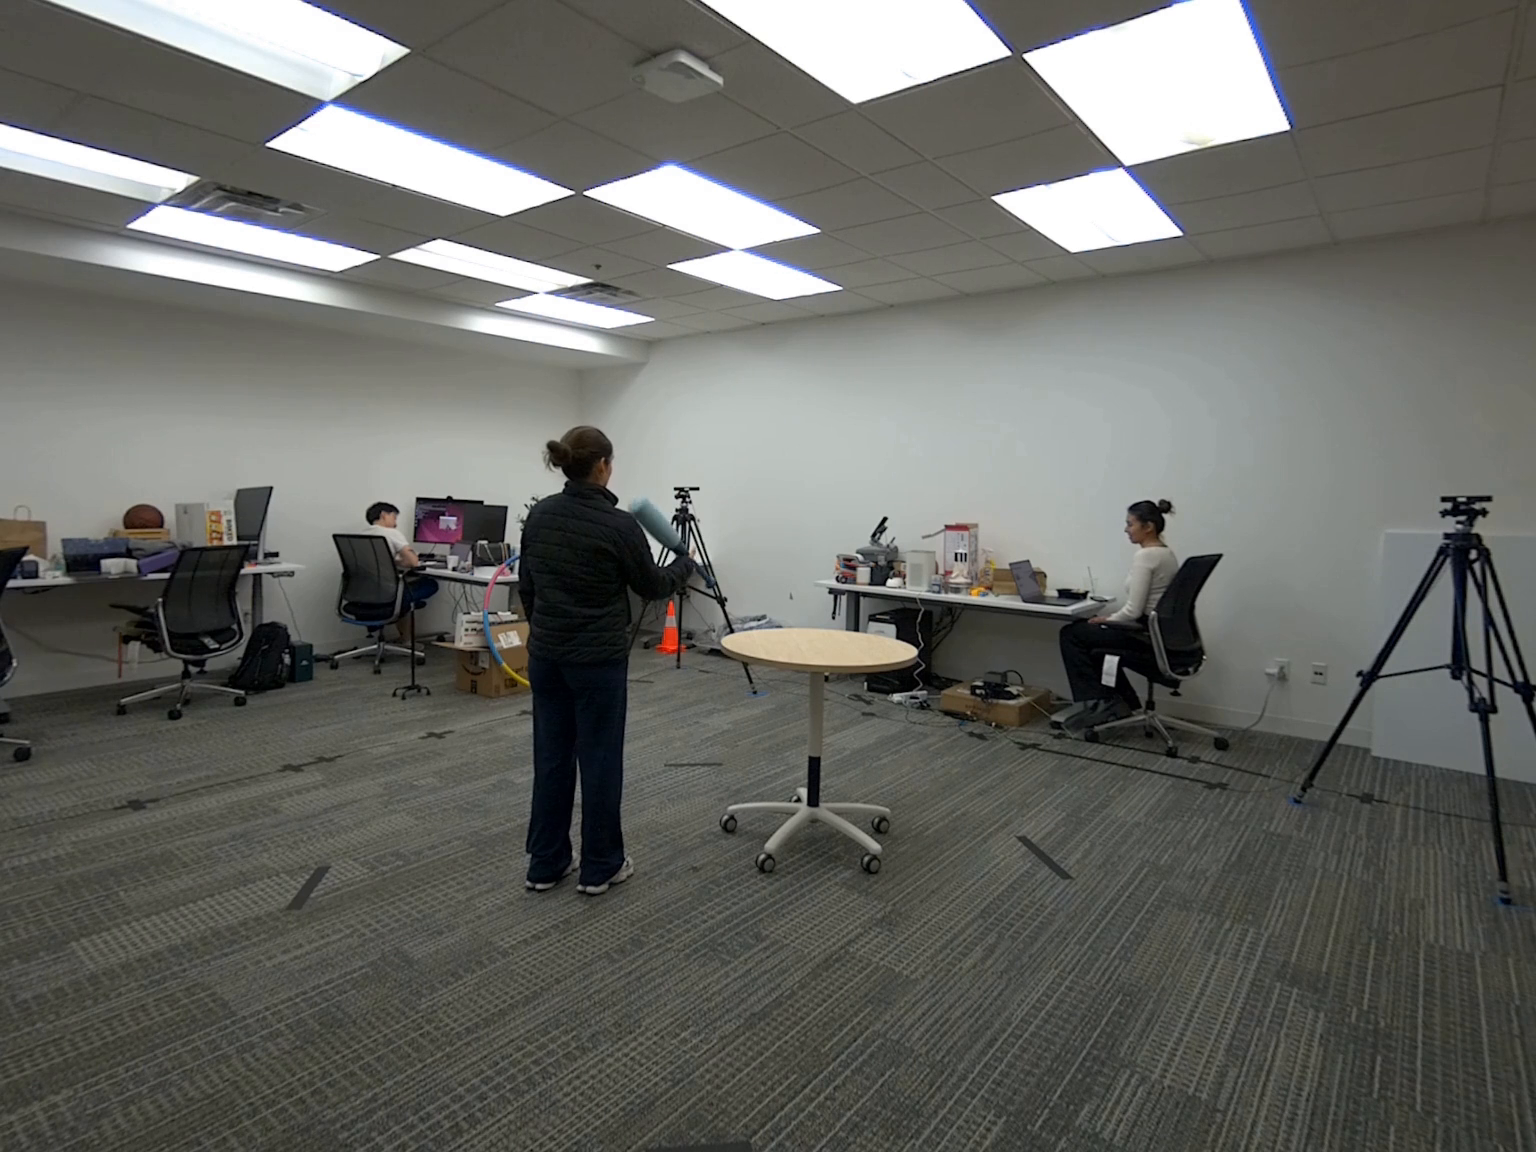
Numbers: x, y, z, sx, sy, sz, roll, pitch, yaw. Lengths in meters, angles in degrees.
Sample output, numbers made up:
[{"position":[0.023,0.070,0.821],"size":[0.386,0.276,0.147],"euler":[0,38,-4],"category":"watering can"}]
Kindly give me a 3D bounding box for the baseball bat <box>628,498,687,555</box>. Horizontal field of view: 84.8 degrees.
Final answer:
[{"position":[-0.339,-0.128,3.303],"size":[0.092,0.089,0.521],"euler":[4,-34,44],"category":"baseball bat"}]
